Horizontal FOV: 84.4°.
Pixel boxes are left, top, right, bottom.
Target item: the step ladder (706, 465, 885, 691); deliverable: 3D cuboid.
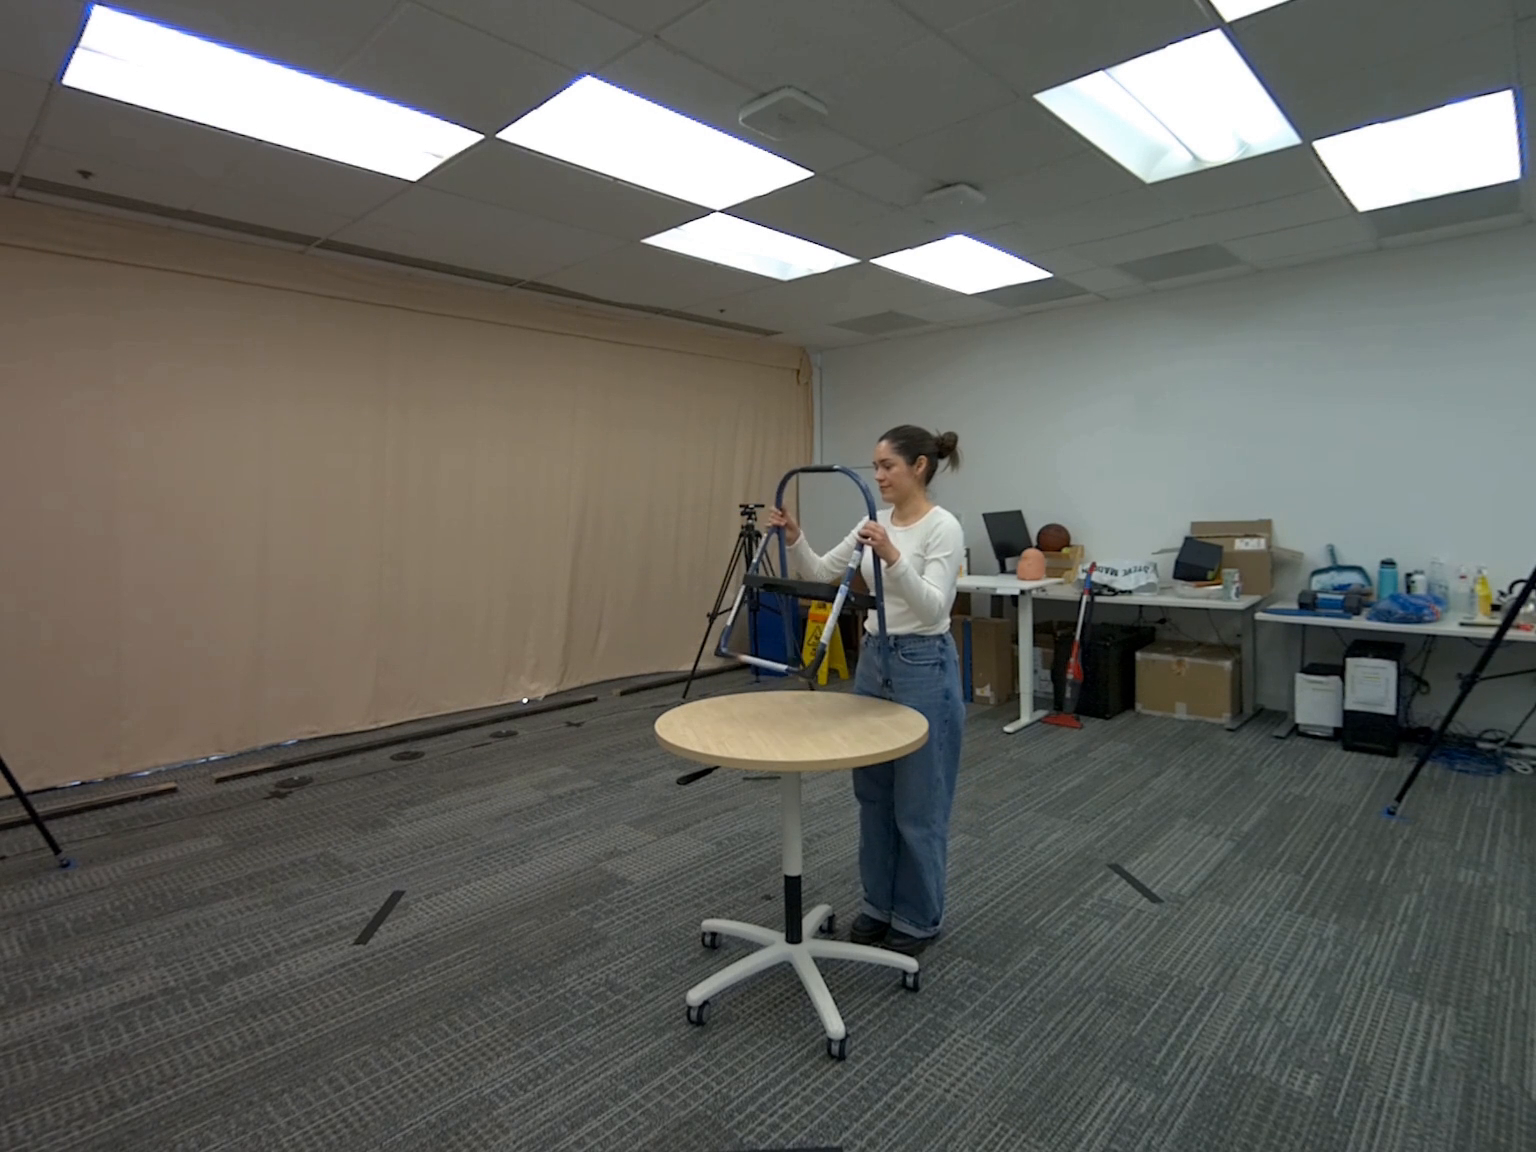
[{"bbox_3d":[0.160,-0.002,2.473,0.337,0.607,0.445,13,-6,-41],"label":"step ladder"}]
